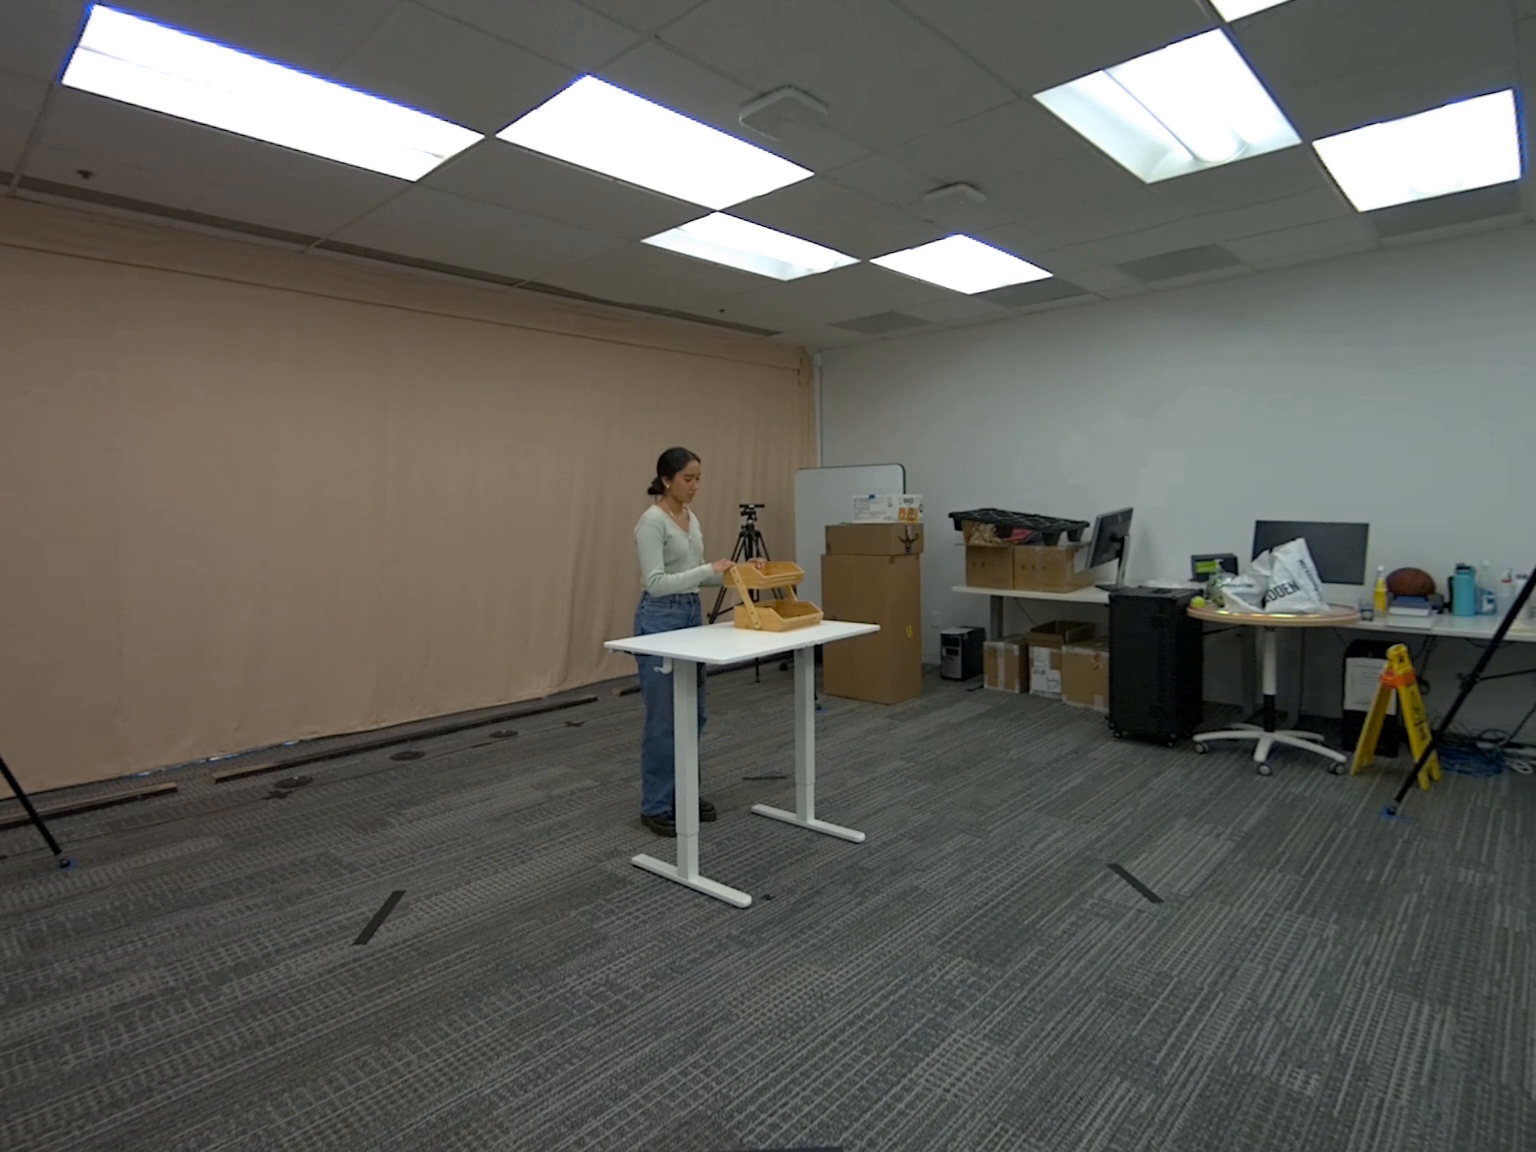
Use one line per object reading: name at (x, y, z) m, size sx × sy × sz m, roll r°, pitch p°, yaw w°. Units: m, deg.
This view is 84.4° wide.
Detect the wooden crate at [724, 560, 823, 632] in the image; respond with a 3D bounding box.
wooden crate at (0.027, 0.079, 3.555) m, size 0.311 × 0.273 × 0.315 m, roll 1°, pitch 4°, yaw 37°
